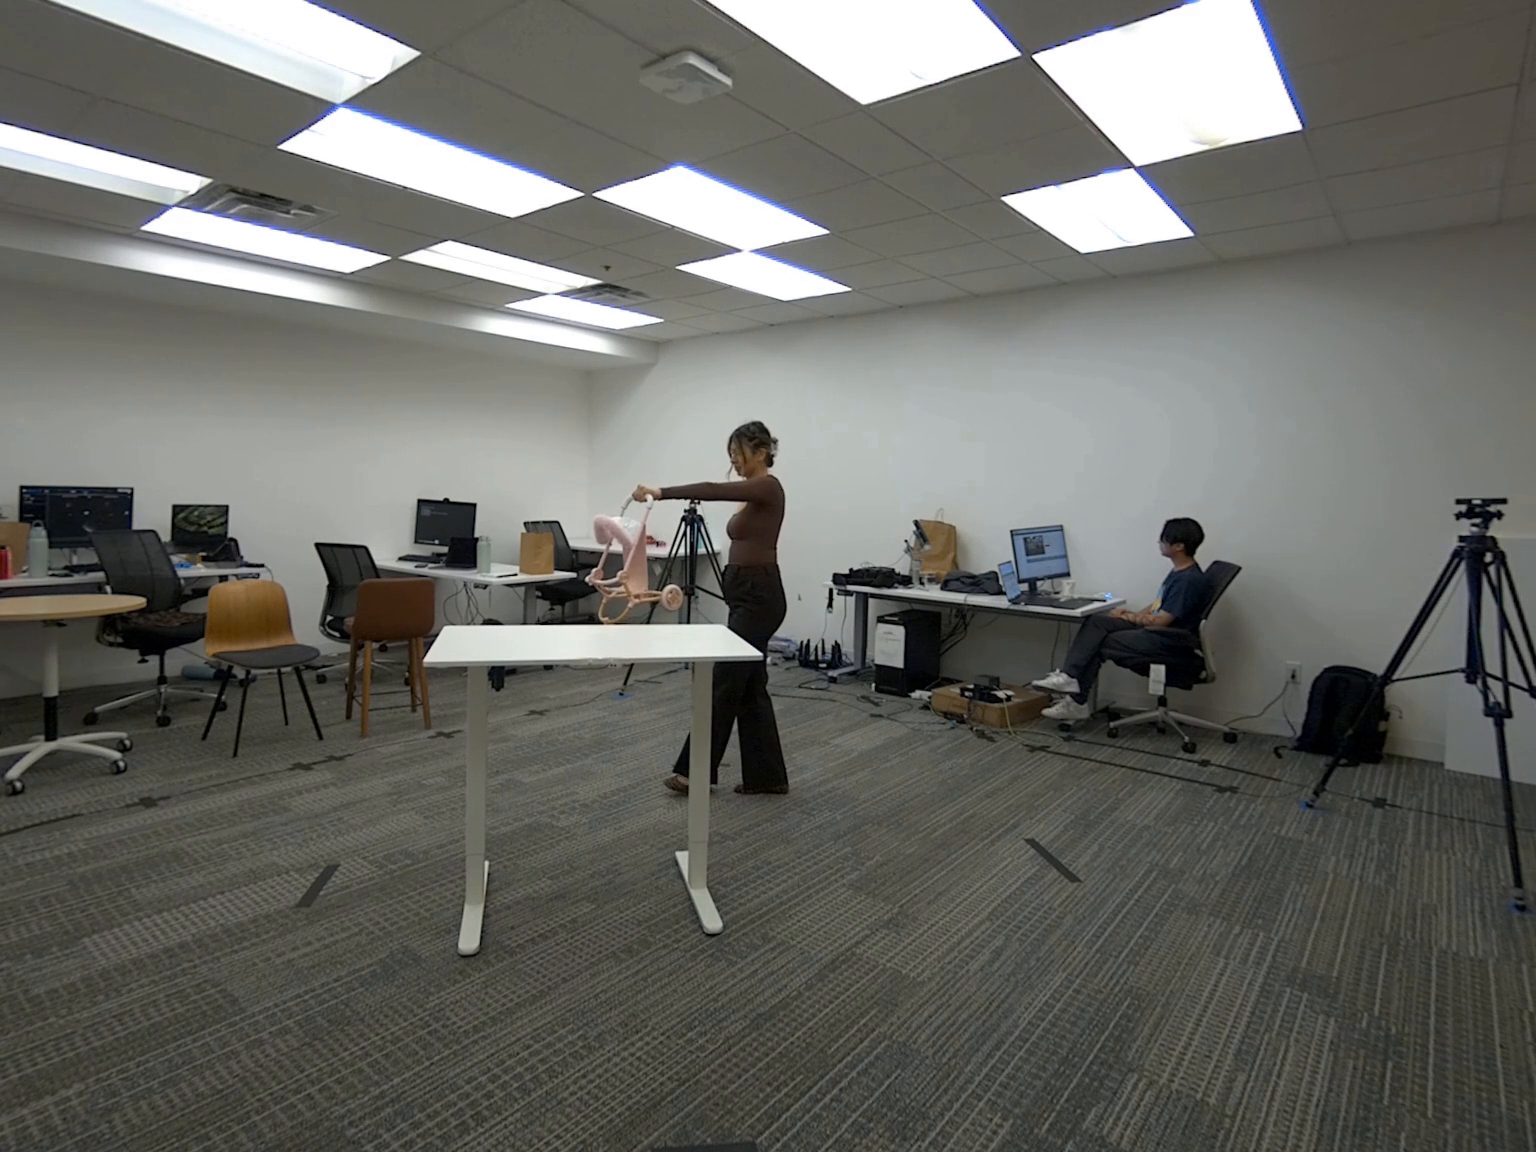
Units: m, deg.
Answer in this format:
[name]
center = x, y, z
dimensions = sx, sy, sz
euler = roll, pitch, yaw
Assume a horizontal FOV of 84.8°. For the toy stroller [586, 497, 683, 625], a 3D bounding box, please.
[toy stroller]
center = -0.601, -0.034, 3.446
dimensions = 0.335, 0.527, 0.291
euler = -20, 16, -35
